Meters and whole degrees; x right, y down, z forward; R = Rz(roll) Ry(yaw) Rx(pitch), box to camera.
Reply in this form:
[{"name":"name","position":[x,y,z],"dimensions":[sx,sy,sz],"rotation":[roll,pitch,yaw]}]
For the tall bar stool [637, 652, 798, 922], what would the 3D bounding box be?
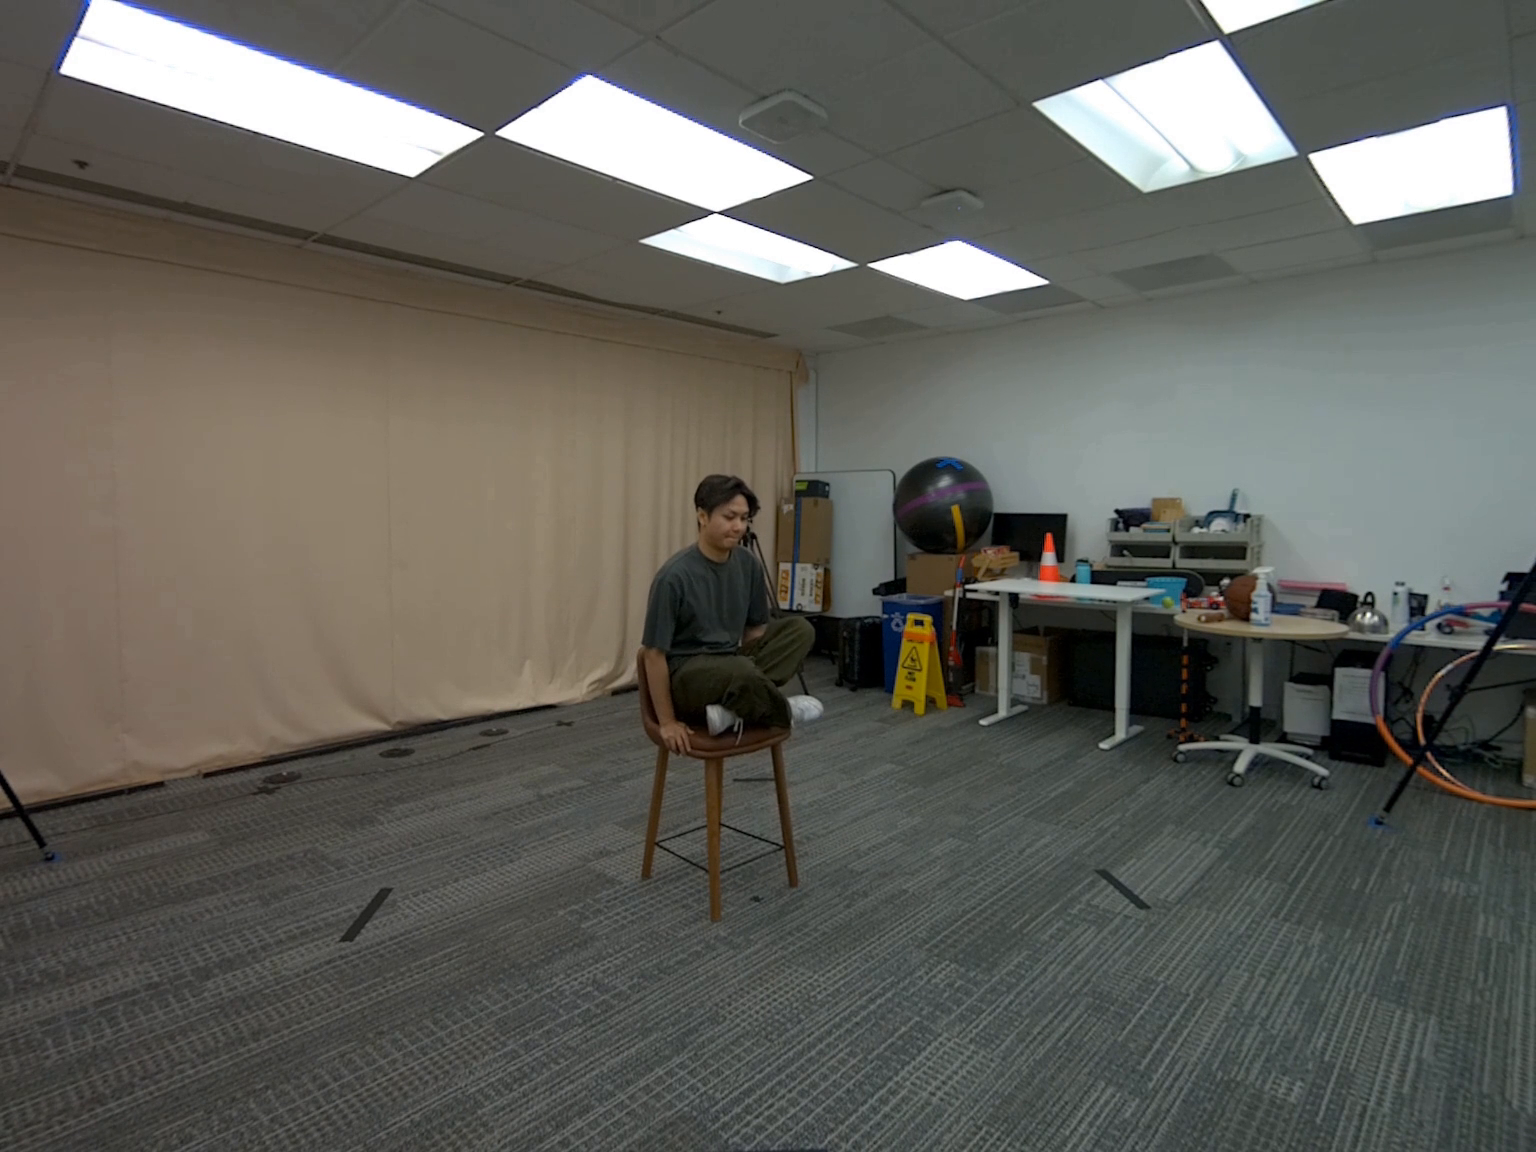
[{"name":"tall bar stool","position":[-0.195,0.700,3.101],"dimensions":[0.442,0.889,0.482],"rotation":[-3,2,-42]}]
